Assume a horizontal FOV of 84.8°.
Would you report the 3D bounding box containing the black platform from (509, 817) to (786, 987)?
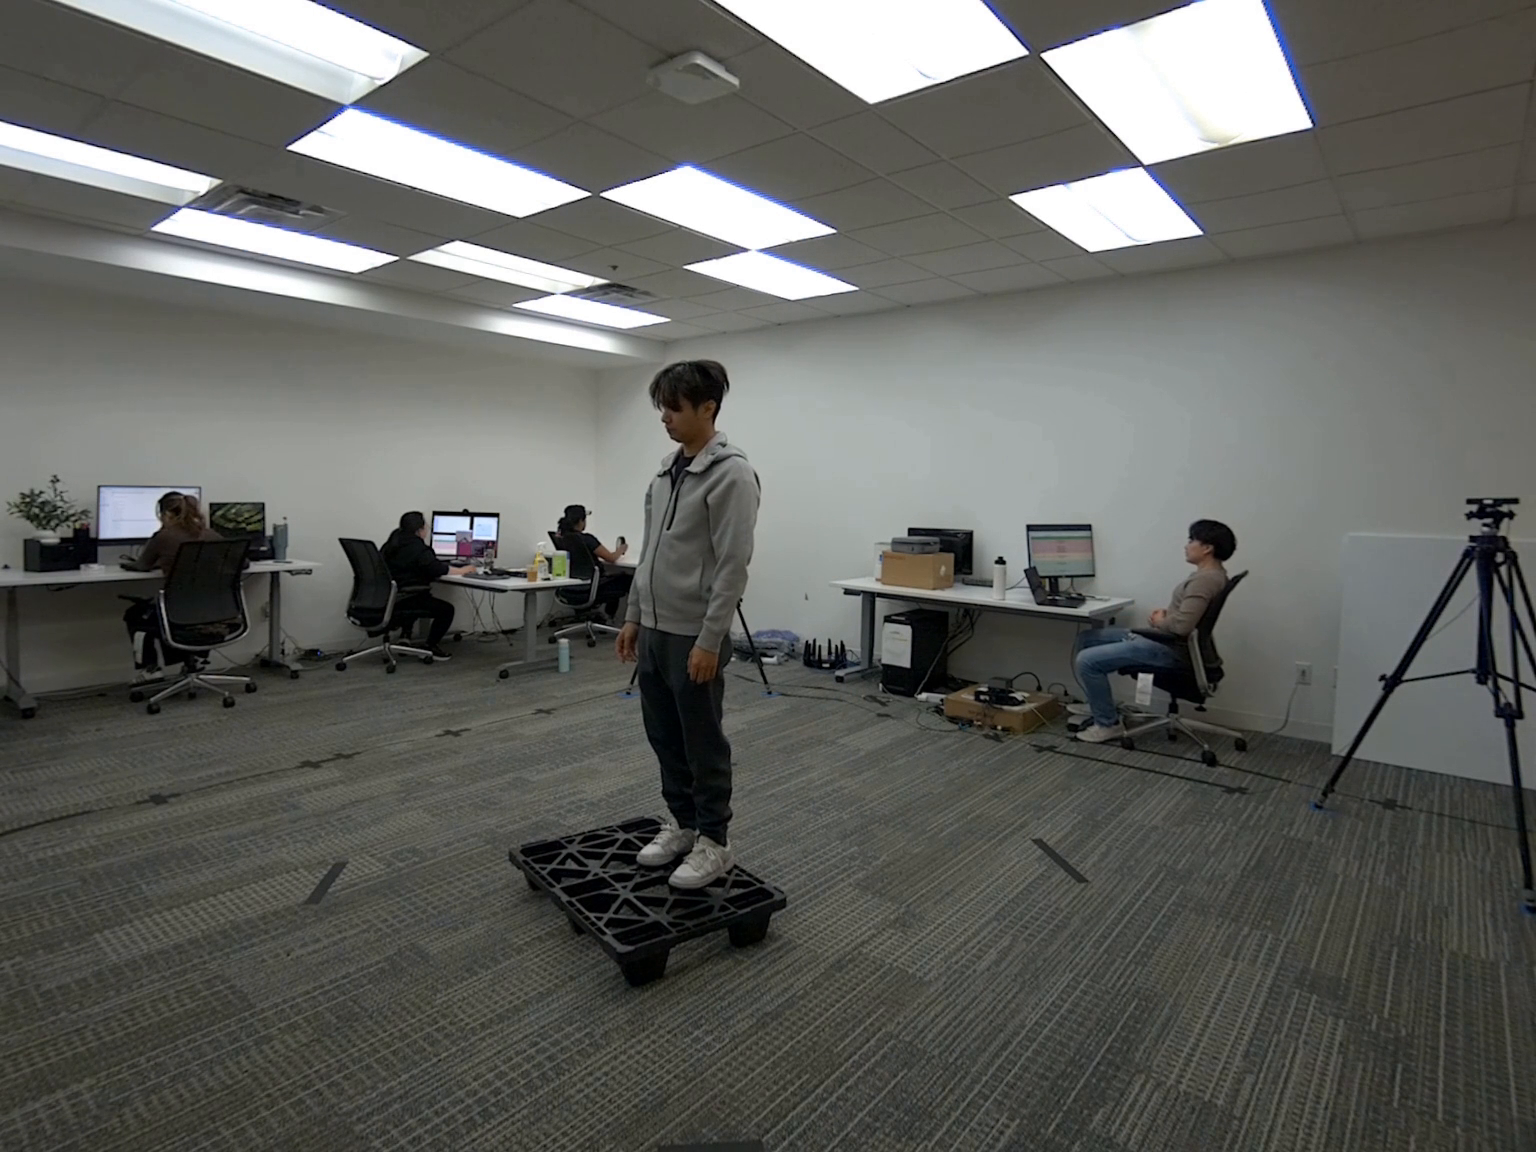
[{"bbox_3d":[-0.425,1.028,2.790,0.587,0.143,0.833,-2,7,-37],"label":"black platform"}]
